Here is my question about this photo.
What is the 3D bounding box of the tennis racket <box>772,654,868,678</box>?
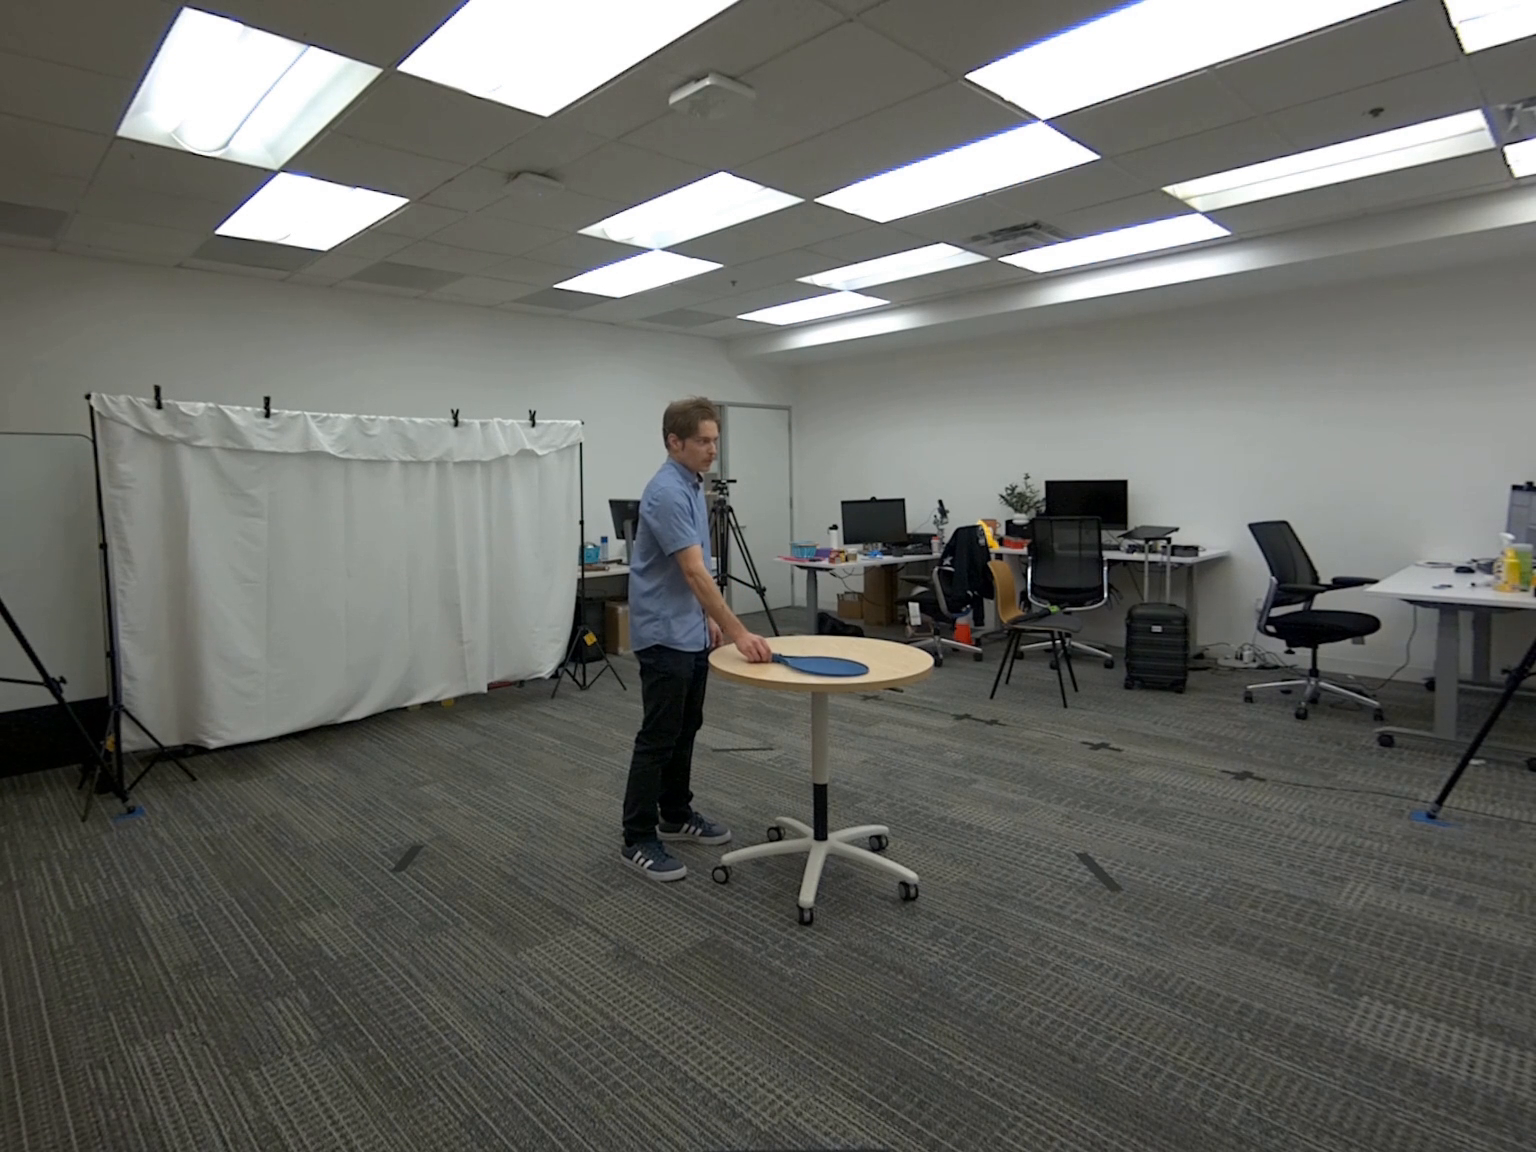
[{"bbox_3d":[0.121,0.286,2.793,0.446,0.031,0.208,5,7,34],"label":"tennis racket"}]
